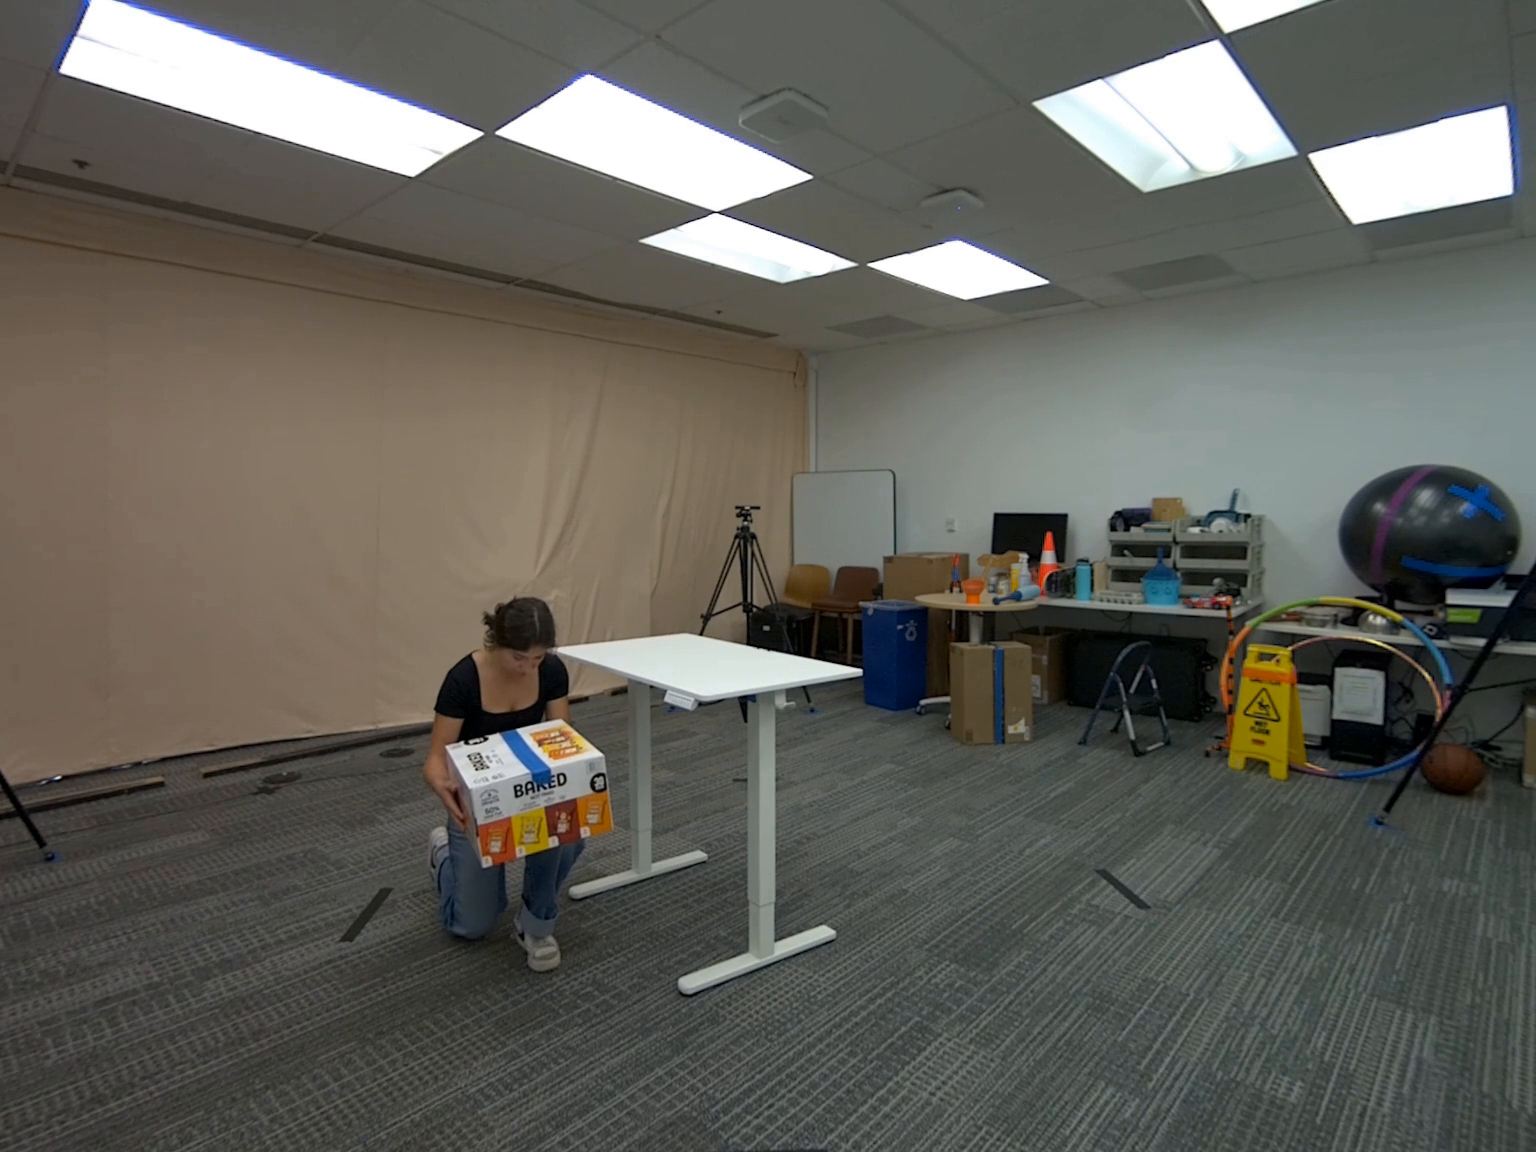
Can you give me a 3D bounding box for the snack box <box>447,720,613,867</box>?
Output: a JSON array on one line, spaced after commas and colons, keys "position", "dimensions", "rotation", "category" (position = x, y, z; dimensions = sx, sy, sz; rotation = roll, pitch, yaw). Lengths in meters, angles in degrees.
[{"position": [-0.659, 0.569, 2.275], "dimensions": [0.332, 0.205, 0.417], "rotation": [-9, 9, -29], "category": "snack box"}]
